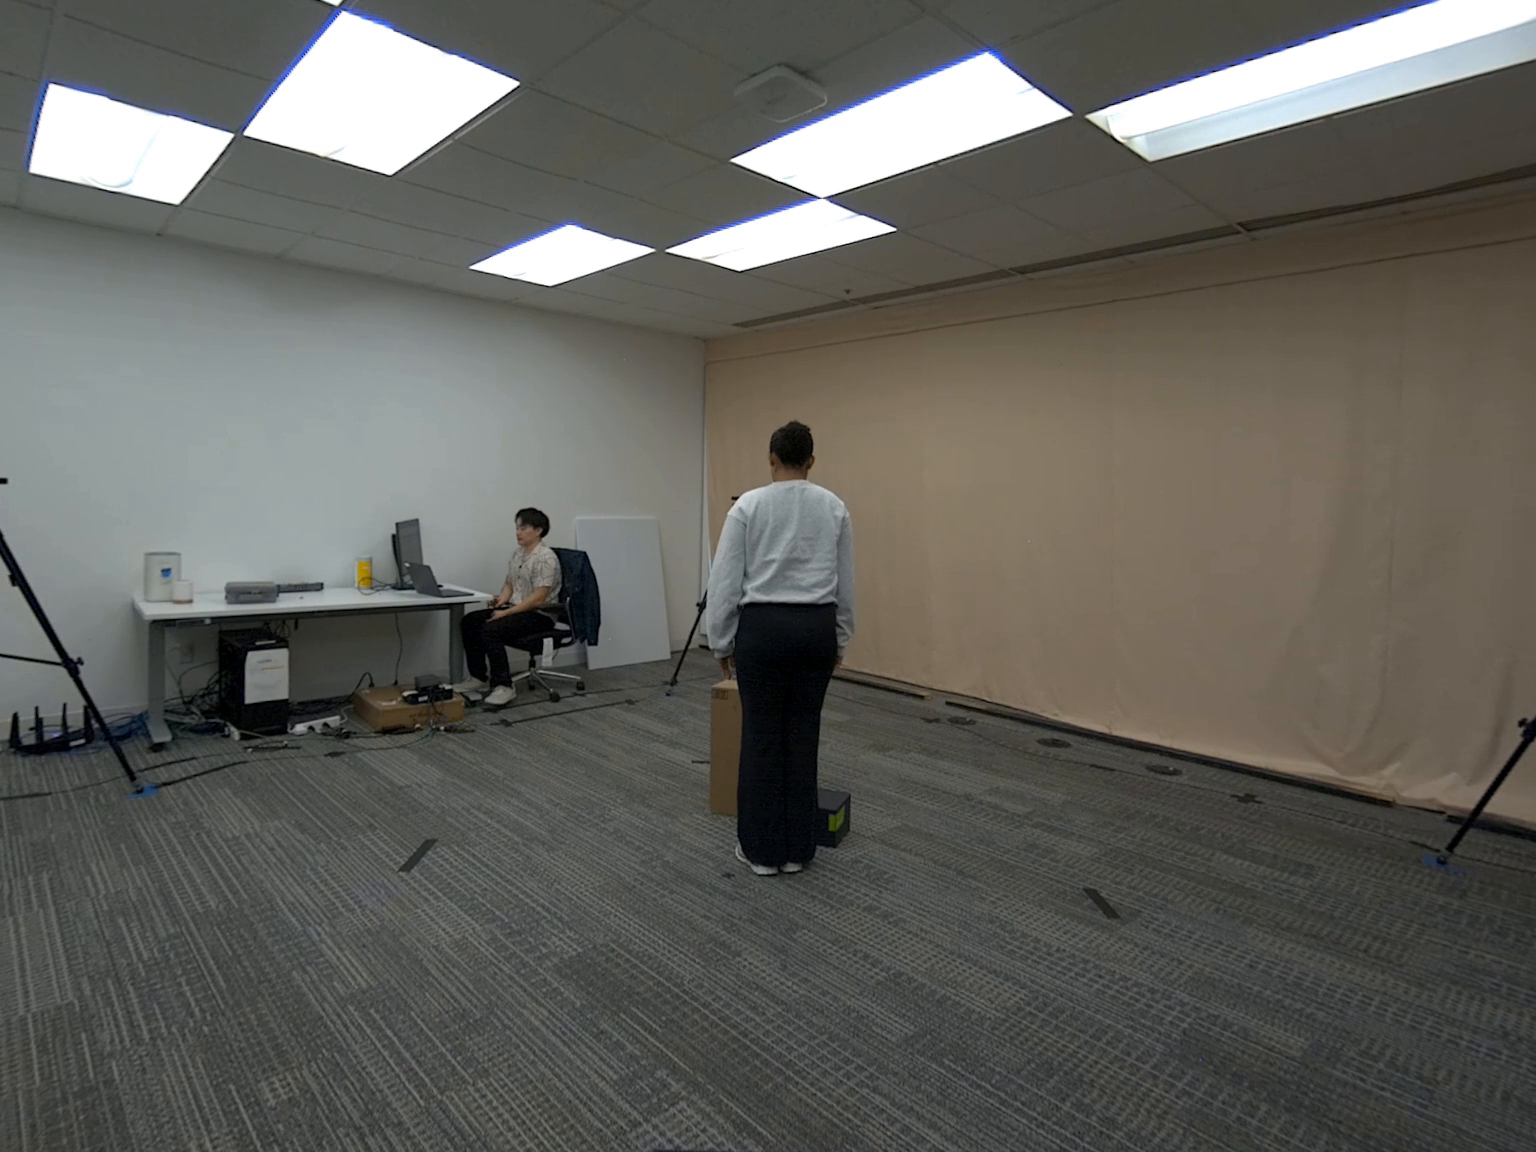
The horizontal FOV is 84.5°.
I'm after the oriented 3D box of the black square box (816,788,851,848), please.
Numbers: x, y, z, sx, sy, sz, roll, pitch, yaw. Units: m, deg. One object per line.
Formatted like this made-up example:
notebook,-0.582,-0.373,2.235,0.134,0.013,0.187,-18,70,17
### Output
black square box,0.202,0.997,3.510,0.221,0.155,0.224,3,4,22
